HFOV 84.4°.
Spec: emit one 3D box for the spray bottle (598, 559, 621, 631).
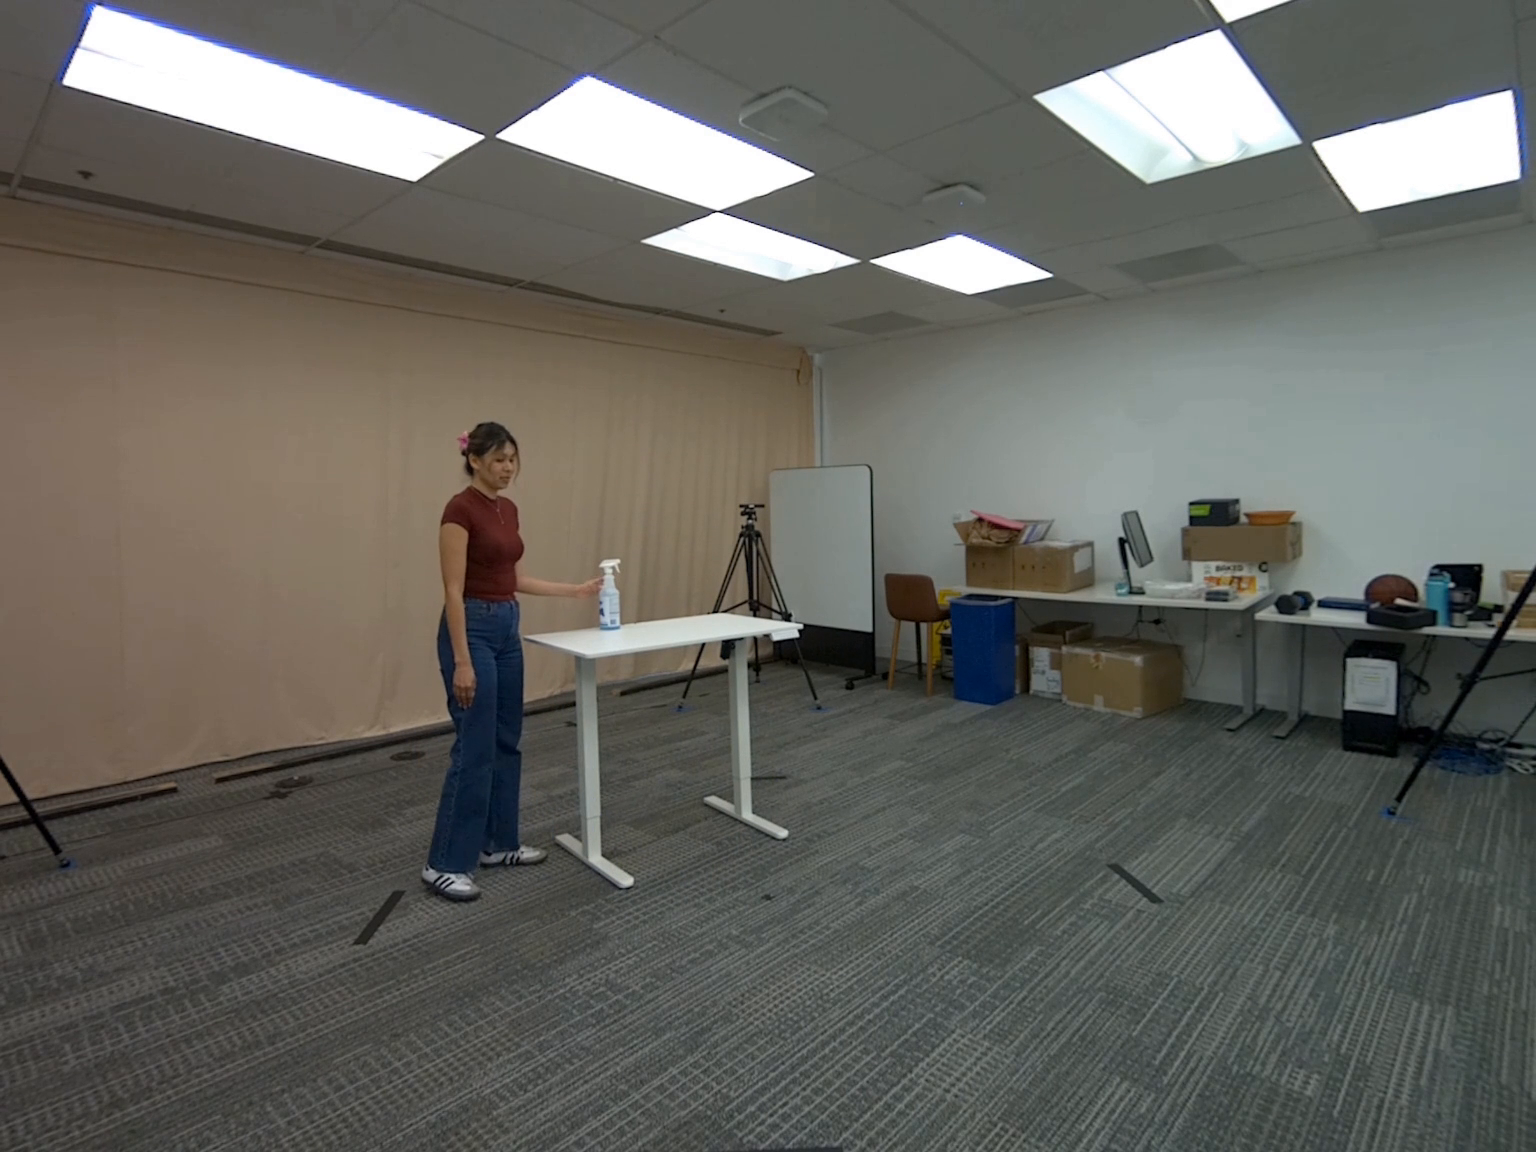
[{"bbox_3d":[-0.678,0.082,3.580,0.093,0.296,0.085,3,5,32],"label":"spray bottle"}]
